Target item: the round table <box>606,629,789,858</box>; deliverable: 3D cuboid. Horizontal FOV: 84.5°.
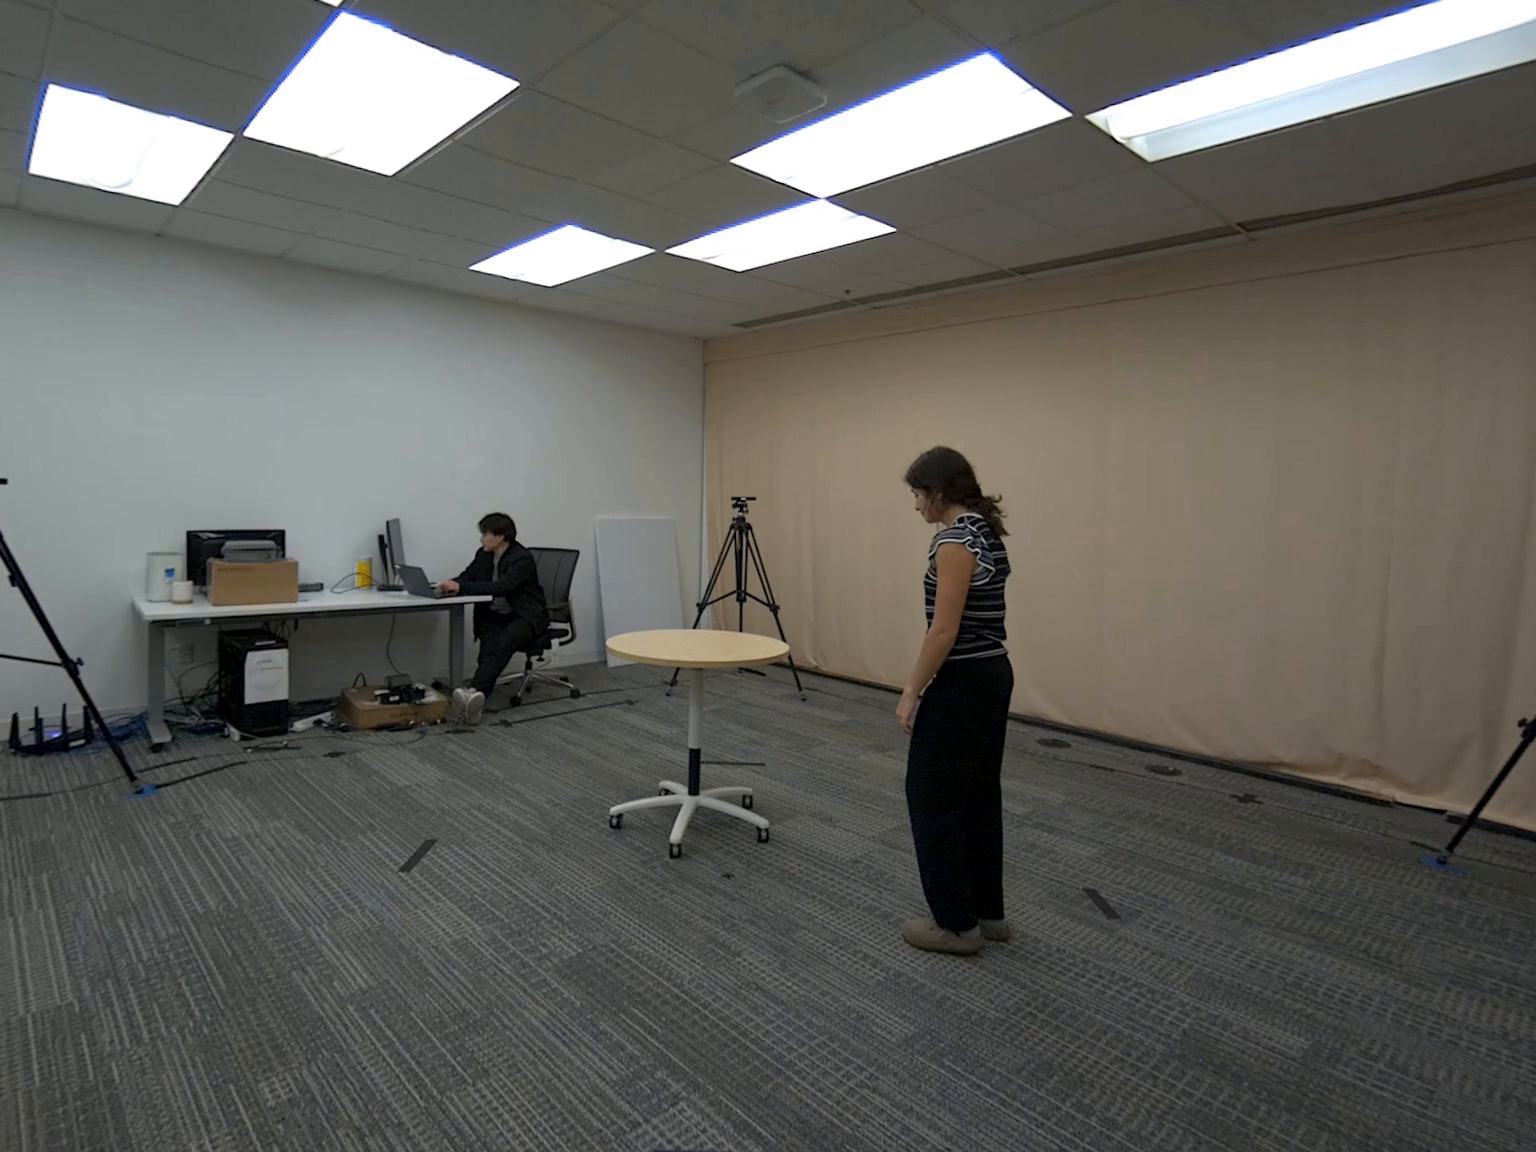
[{"bbox_3d":[-0.319,0.677,3.547,0.763,0.792,0.766,2,4,-1],"label":"round table"}]
